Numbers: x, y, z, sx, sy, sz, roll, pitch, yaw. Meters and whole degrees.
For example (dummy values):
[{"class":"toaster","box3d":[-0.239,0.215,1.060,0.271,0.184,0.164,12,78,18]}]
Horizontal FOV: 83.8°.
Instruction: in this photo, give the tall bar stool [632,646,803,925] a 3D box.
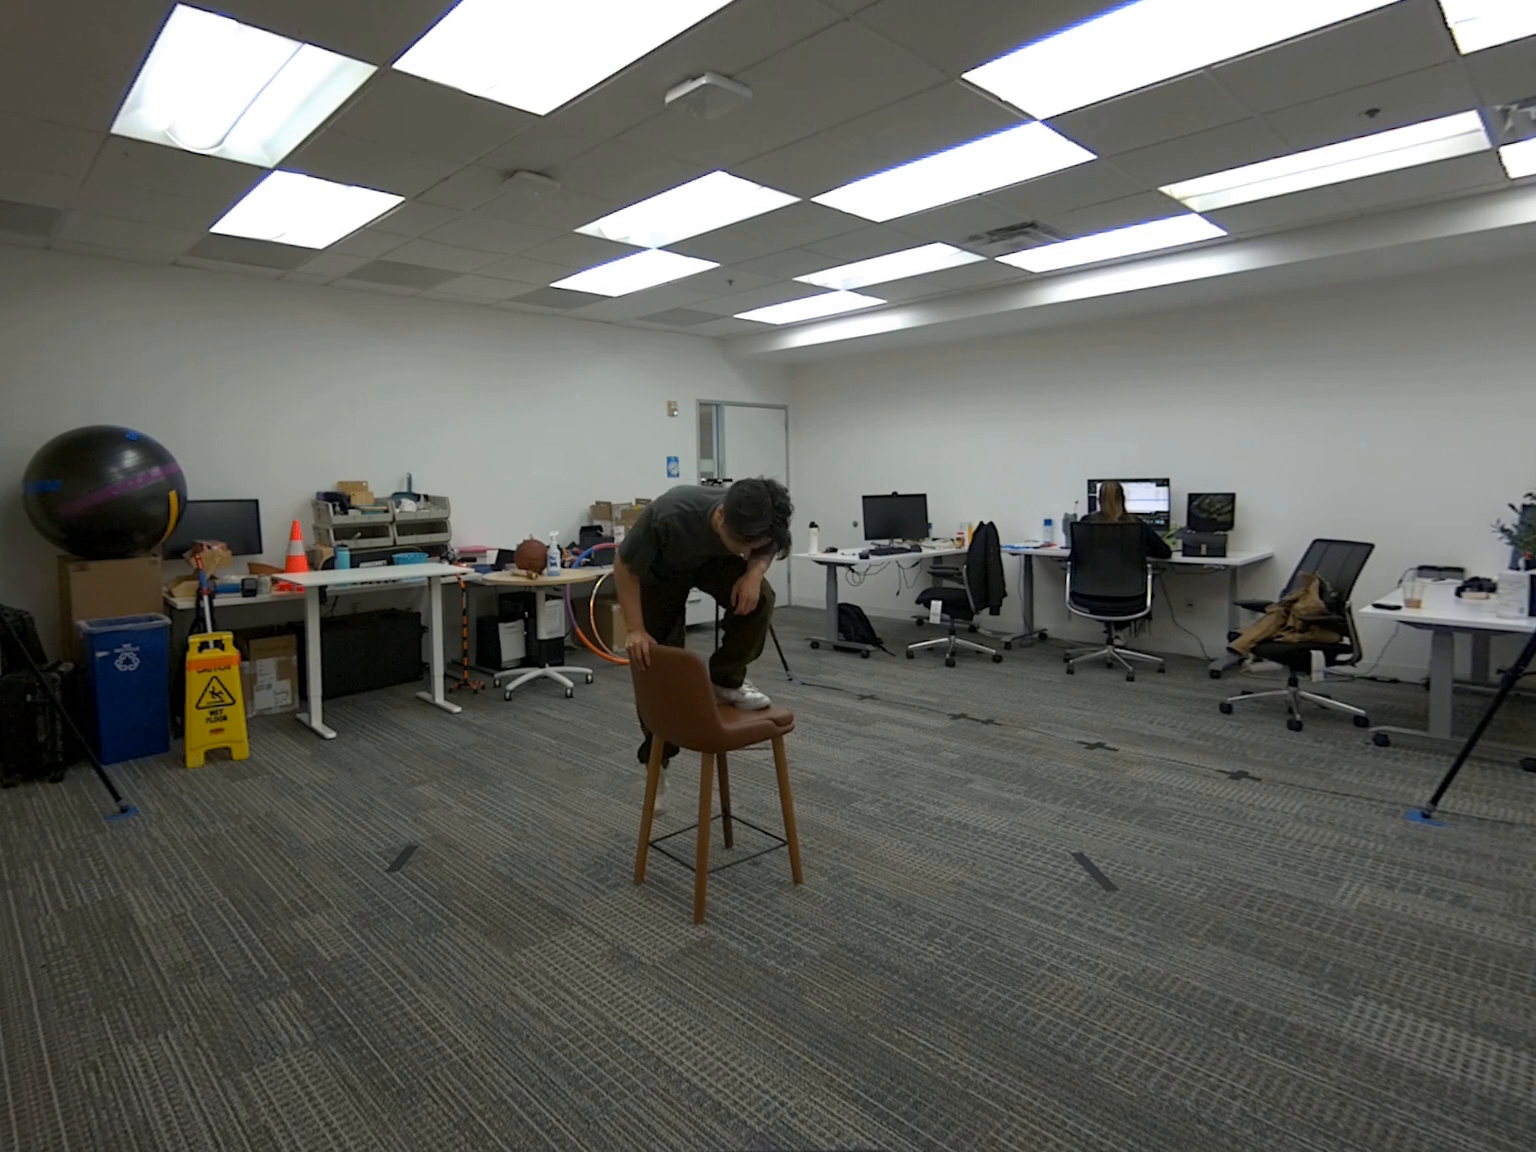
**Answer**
[{"class":"tall bar stool","box3d":[-0.187,0.629,2.931,0.456,0.885,0.470,-7,8,-40]}]
